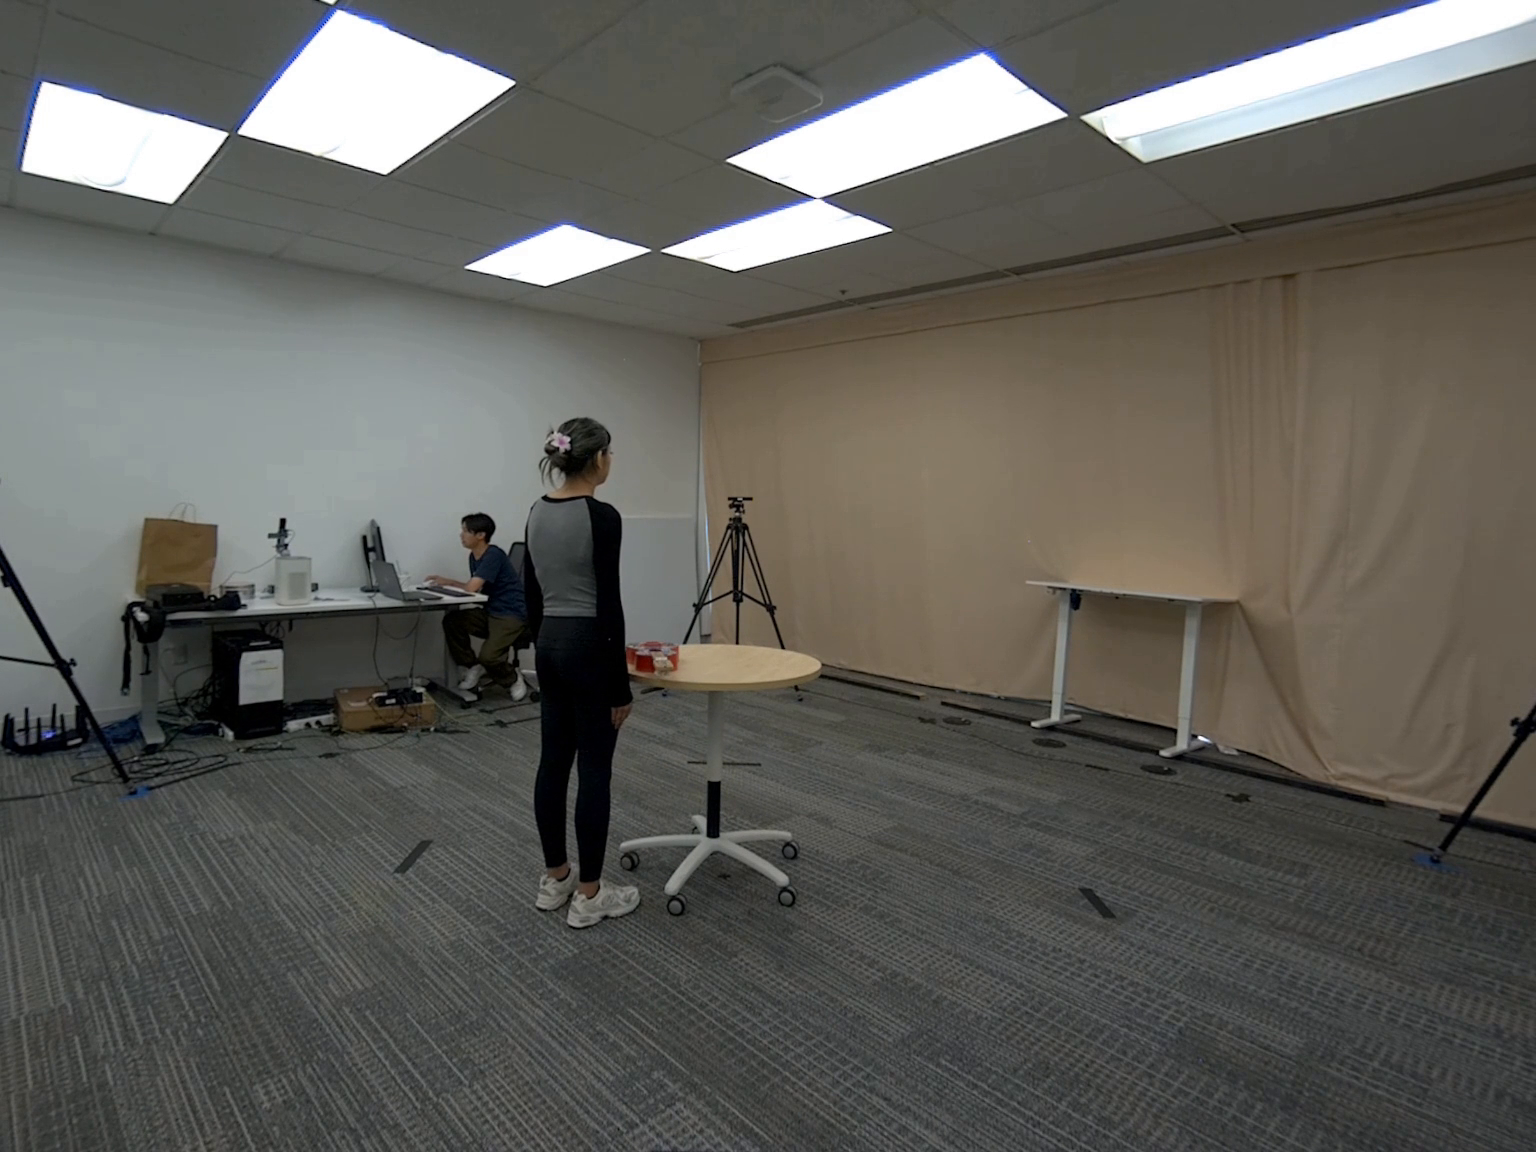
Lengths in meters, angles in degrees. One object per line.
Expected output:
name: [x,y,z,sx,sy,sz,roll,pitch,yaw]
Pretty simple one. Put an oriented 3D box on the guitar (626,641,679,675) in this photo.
guitar: [-0.409,0.294,2.878,0.192,0.070,0.500,1,4,-5]
